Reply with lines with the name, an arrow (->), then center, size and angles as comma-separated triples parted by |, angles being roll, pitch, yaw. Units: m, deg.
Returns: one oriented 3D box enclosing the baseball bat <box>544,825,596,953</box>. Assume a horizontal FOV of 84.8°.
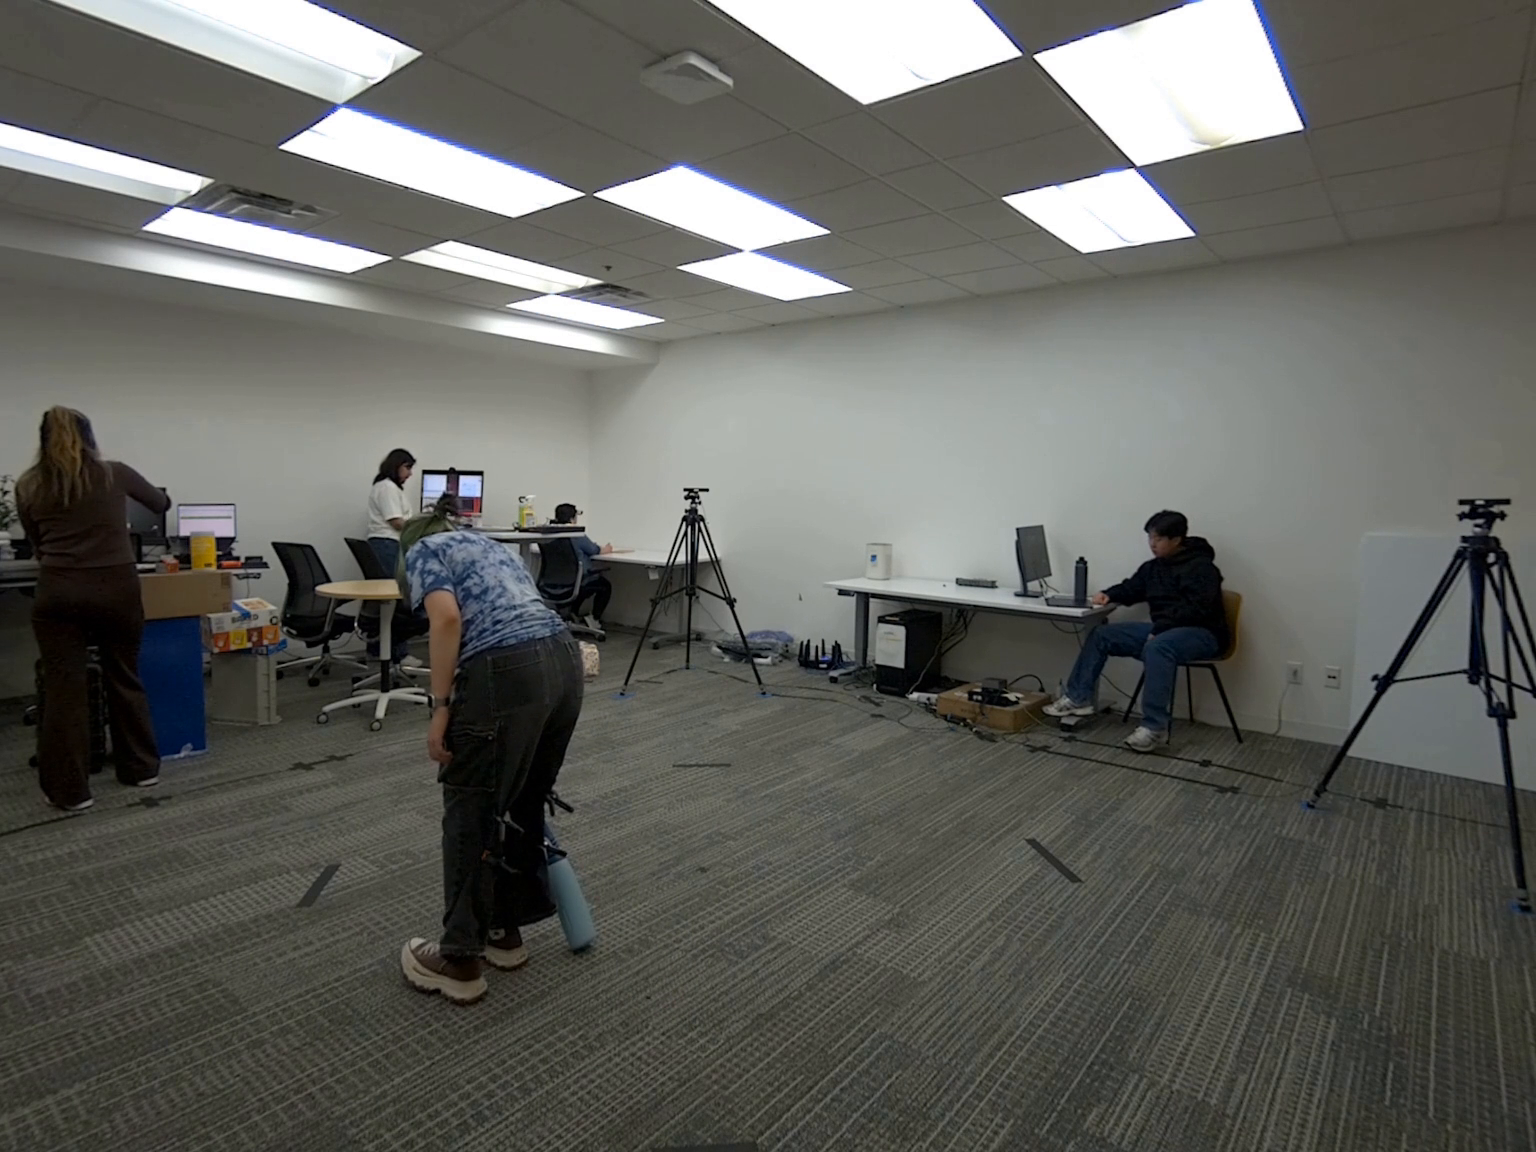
baseball bat -> -0.674, 0.868, 2.622 | 0.088, 0.555, 0.087 | -23, -16, -8
